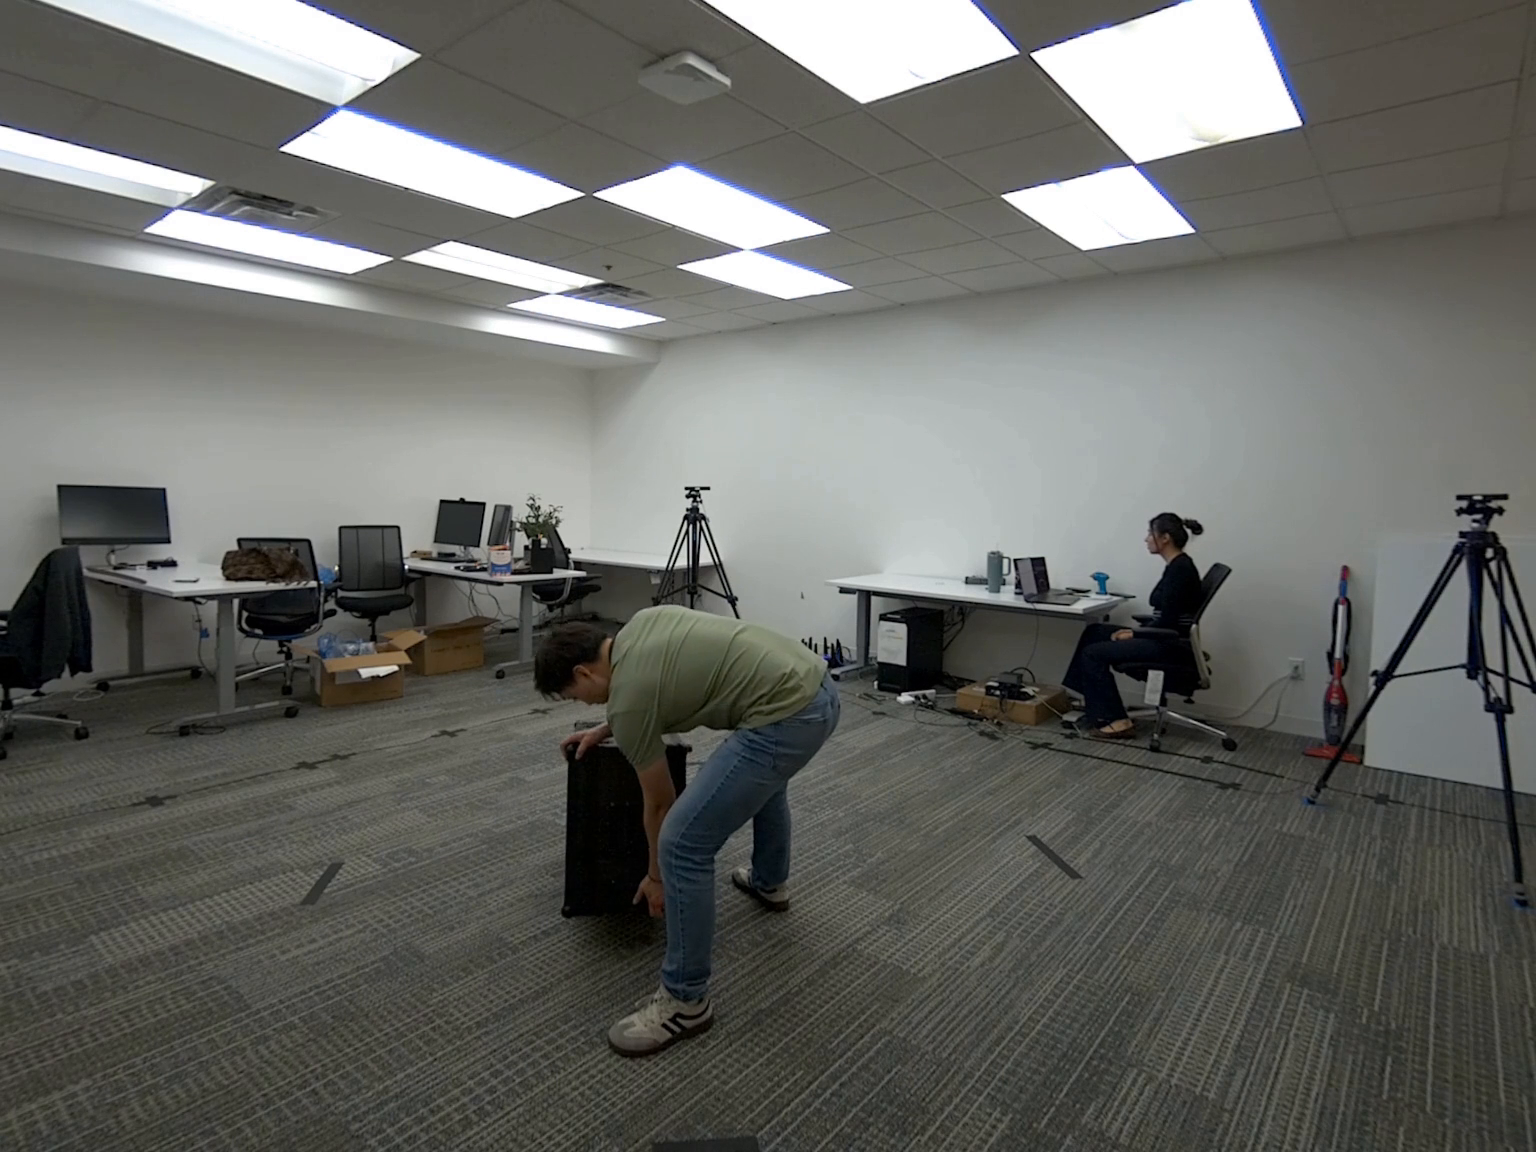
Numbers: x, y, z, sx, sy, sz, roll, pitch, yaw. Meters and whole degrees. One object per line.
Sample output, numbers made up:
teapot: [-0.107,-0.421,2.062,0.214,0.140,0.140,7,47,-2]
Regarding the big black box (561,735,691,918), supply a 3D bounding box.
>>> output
big black box: [-0.505,0.768,2.932,0.392,0.524,0.865,2,-5,-11]
